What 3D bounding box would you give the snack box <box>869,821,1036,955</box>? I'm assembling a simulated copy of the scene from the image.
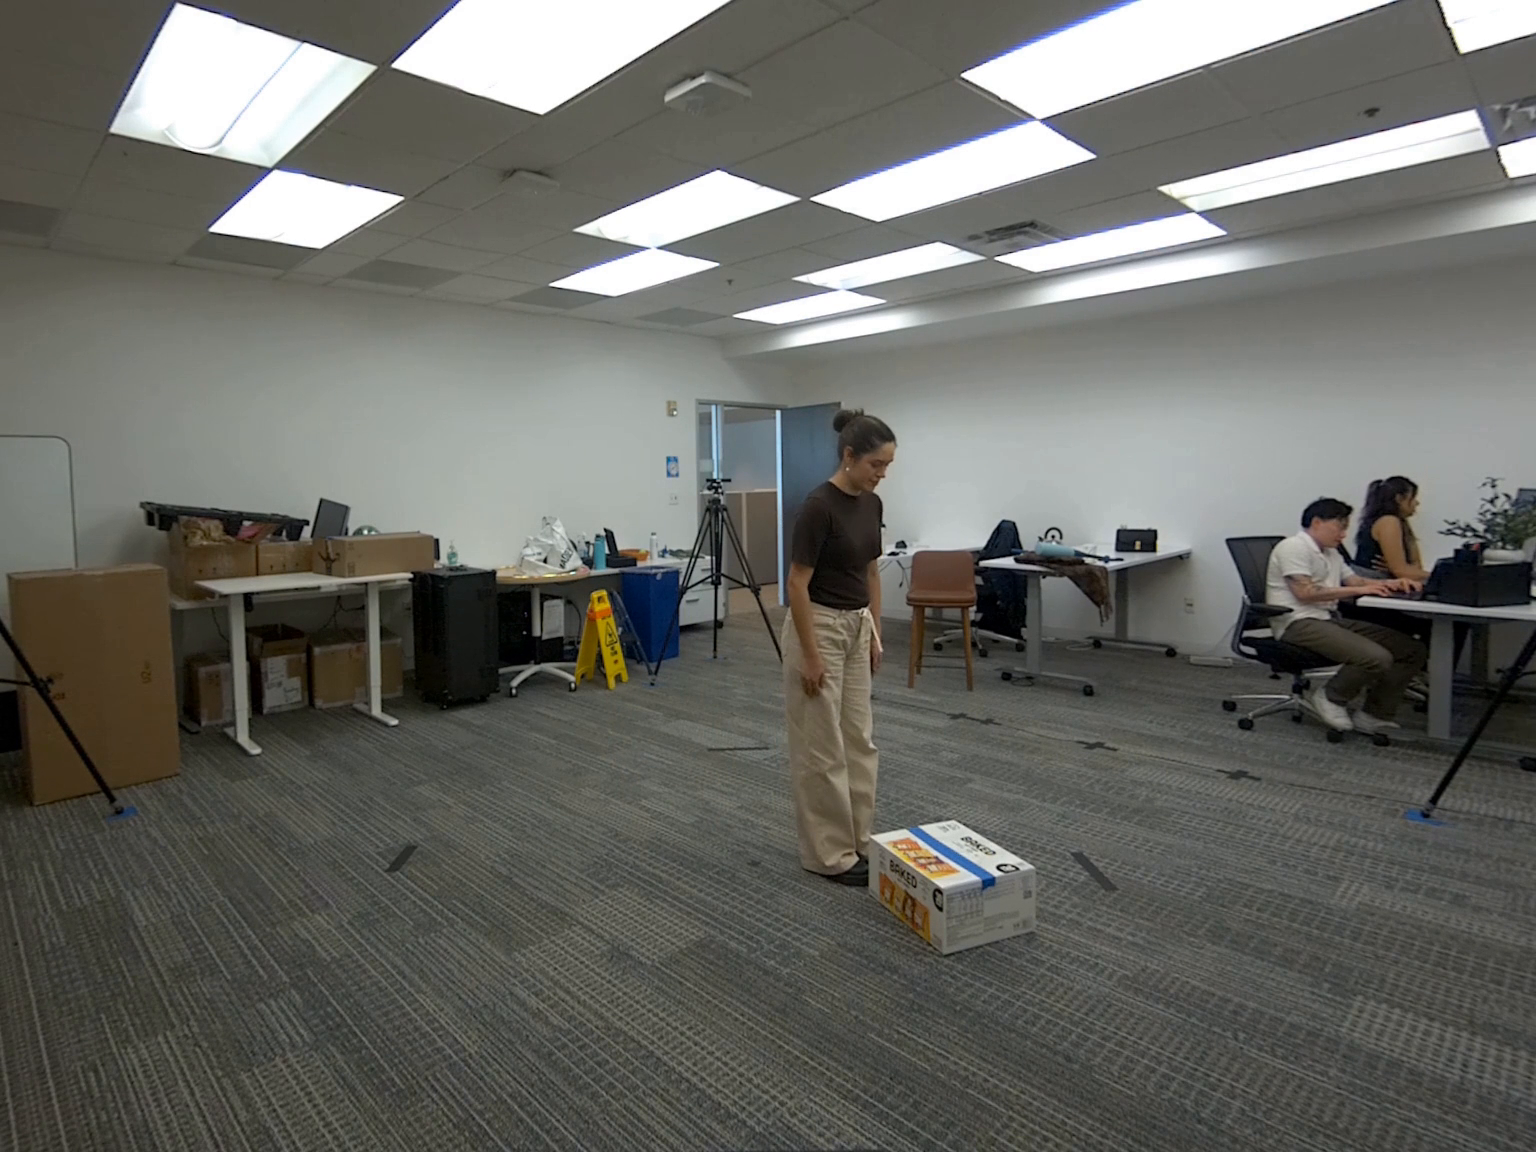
[{"bbox_3d":[0.584,0.977,2.718,0.334,0.205,0.415,-4,6,-23],"label":"snack box"}]
